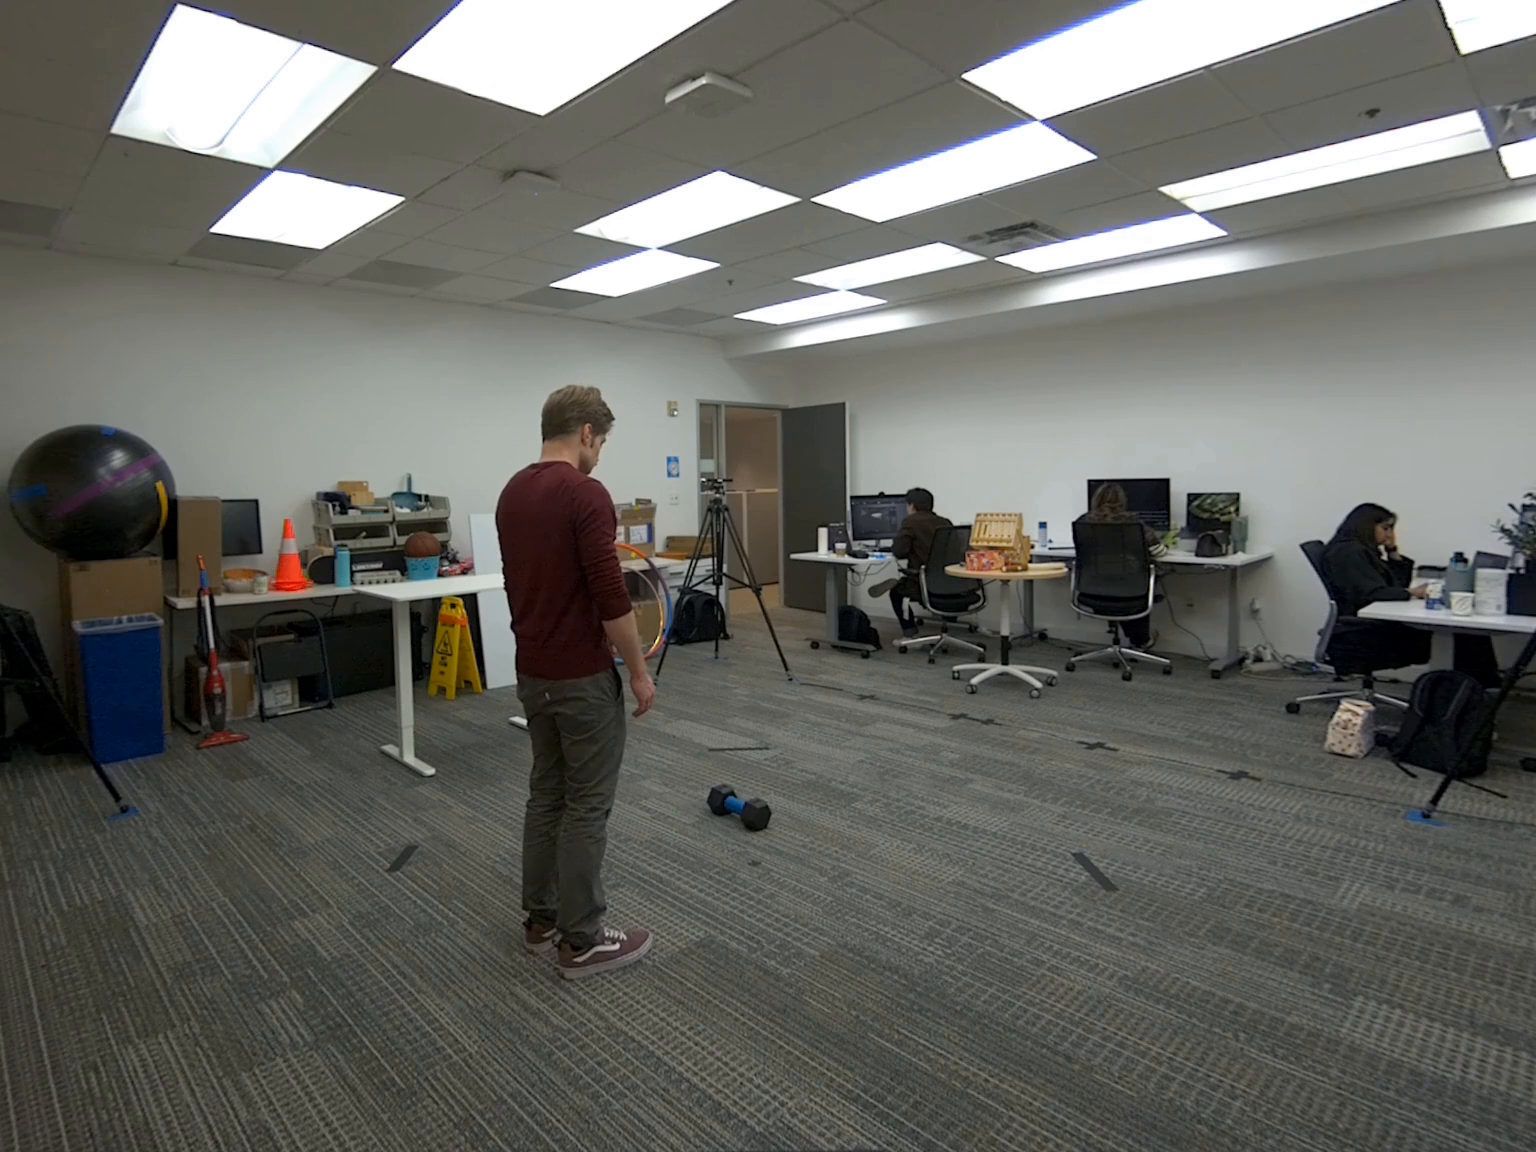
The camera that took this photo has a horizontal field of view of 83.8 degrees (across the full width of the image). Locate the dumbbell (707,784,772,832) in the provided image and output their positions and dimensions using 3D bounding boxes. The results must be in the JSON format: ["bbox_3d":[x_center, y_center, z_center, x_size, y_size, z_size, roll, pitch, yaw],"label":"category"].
[{"bbox_3d":[-0.119,0.948,3.507,0.105,0.124,0.303,34,-18,-37],"label":"dumbbell"}]
